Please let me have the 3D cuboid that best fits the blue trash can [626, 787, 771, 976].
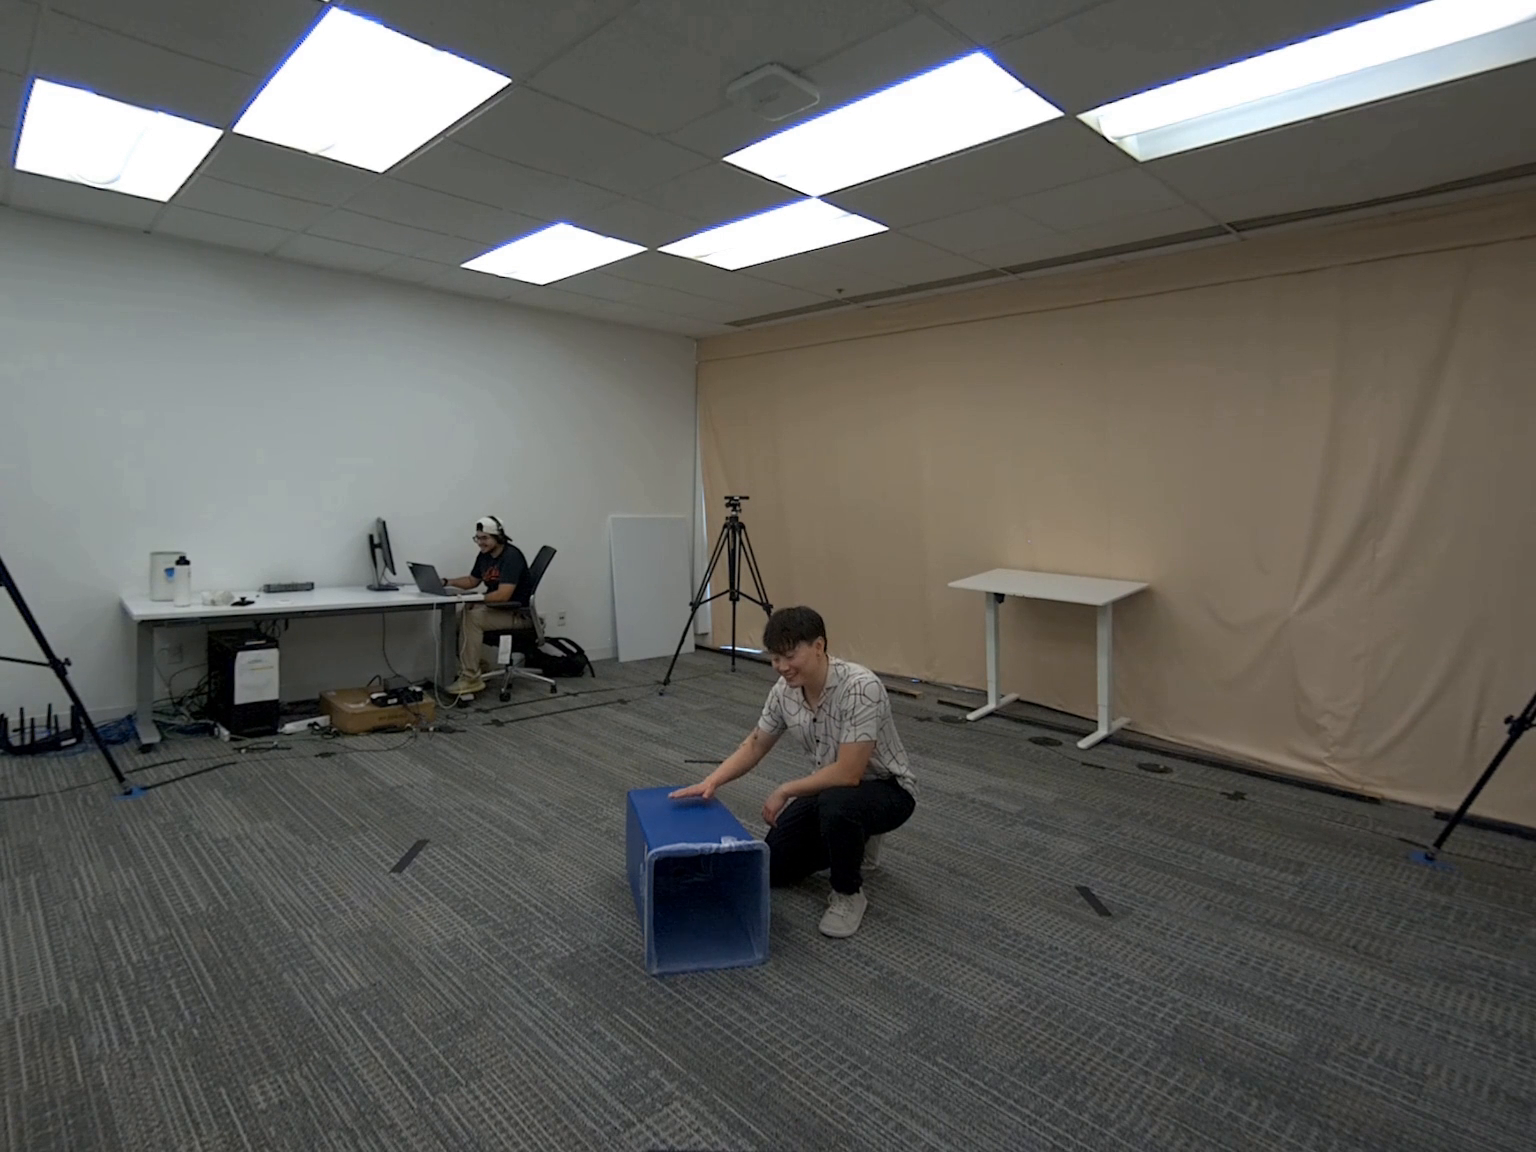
[{"bbox_3d":[-0.273,0.958,2.808,0.373,0.374,0.722,1,1,-16],"label":"blue trash can"}]
